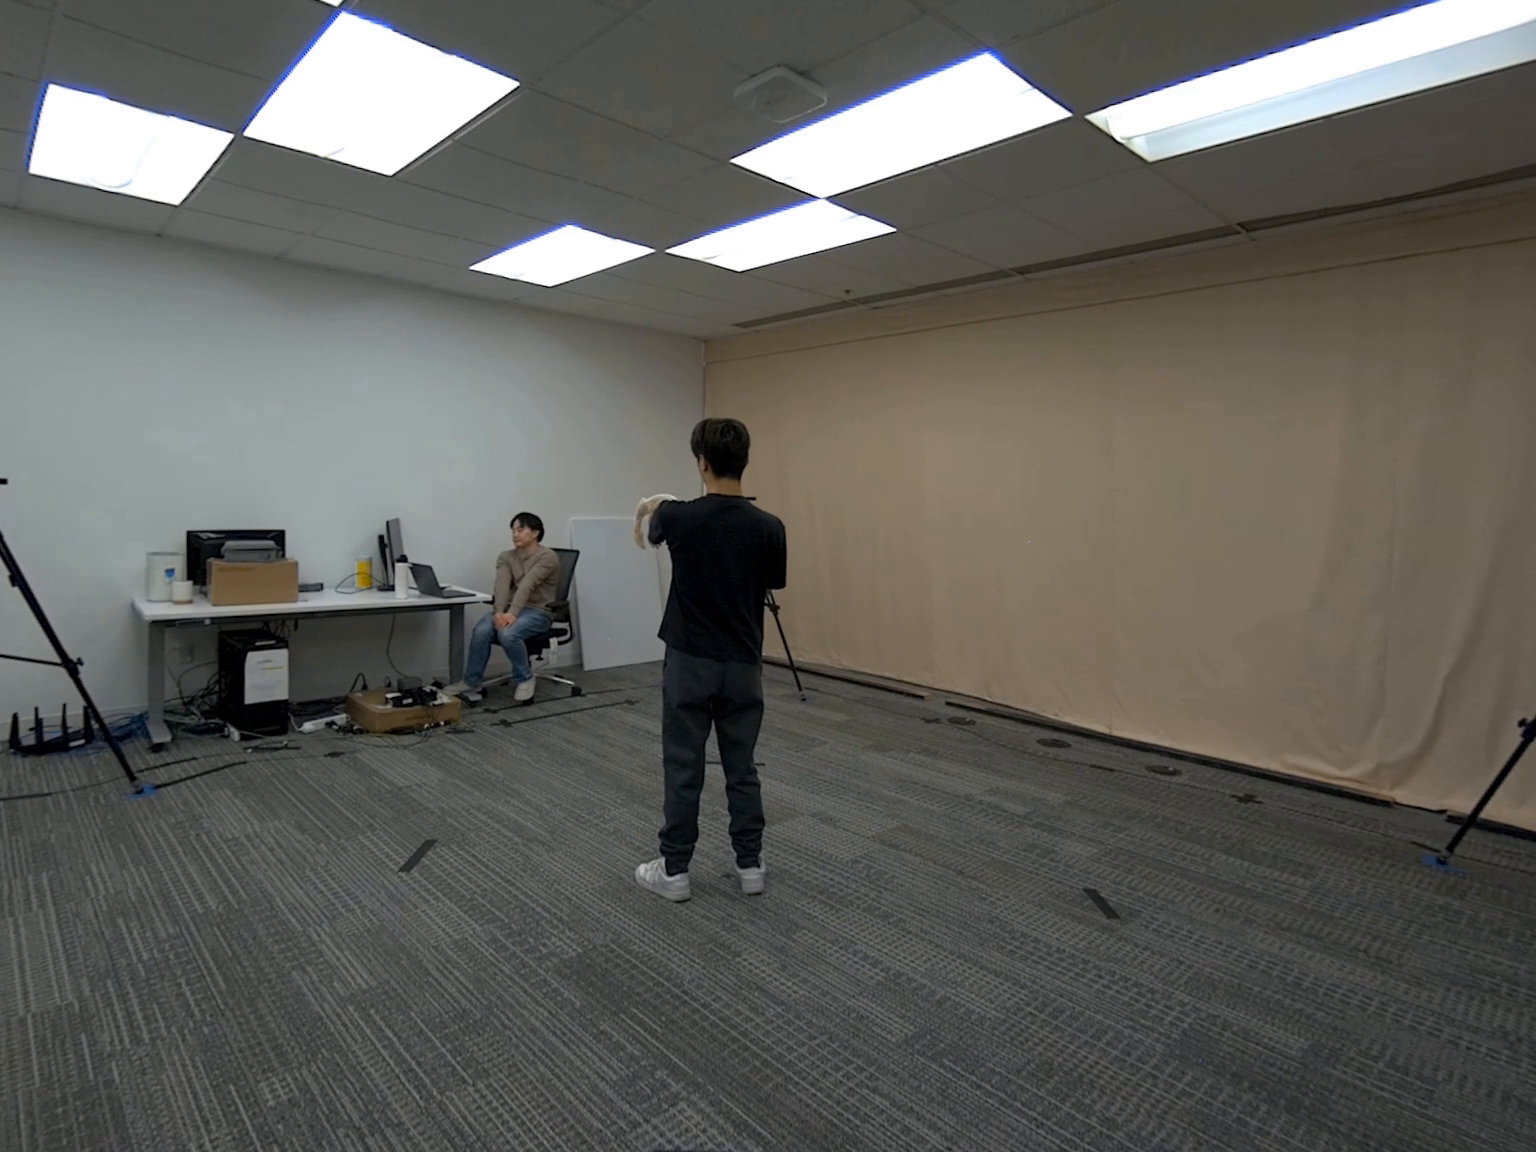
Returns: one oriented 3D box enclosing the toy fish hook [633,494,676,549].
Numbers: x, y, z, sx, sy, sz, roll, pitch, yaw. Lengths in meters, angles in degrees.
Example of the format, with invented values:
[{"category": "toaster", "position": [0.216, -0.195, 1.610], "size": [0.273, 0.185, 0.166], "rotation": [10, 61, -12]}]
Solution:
[{"category": "toy fish hook", "position": [-0.387, -0.065, 3.270], "size": [0.225, 0.503, 0.048], "rotation": [-12, 8, 6]}]
